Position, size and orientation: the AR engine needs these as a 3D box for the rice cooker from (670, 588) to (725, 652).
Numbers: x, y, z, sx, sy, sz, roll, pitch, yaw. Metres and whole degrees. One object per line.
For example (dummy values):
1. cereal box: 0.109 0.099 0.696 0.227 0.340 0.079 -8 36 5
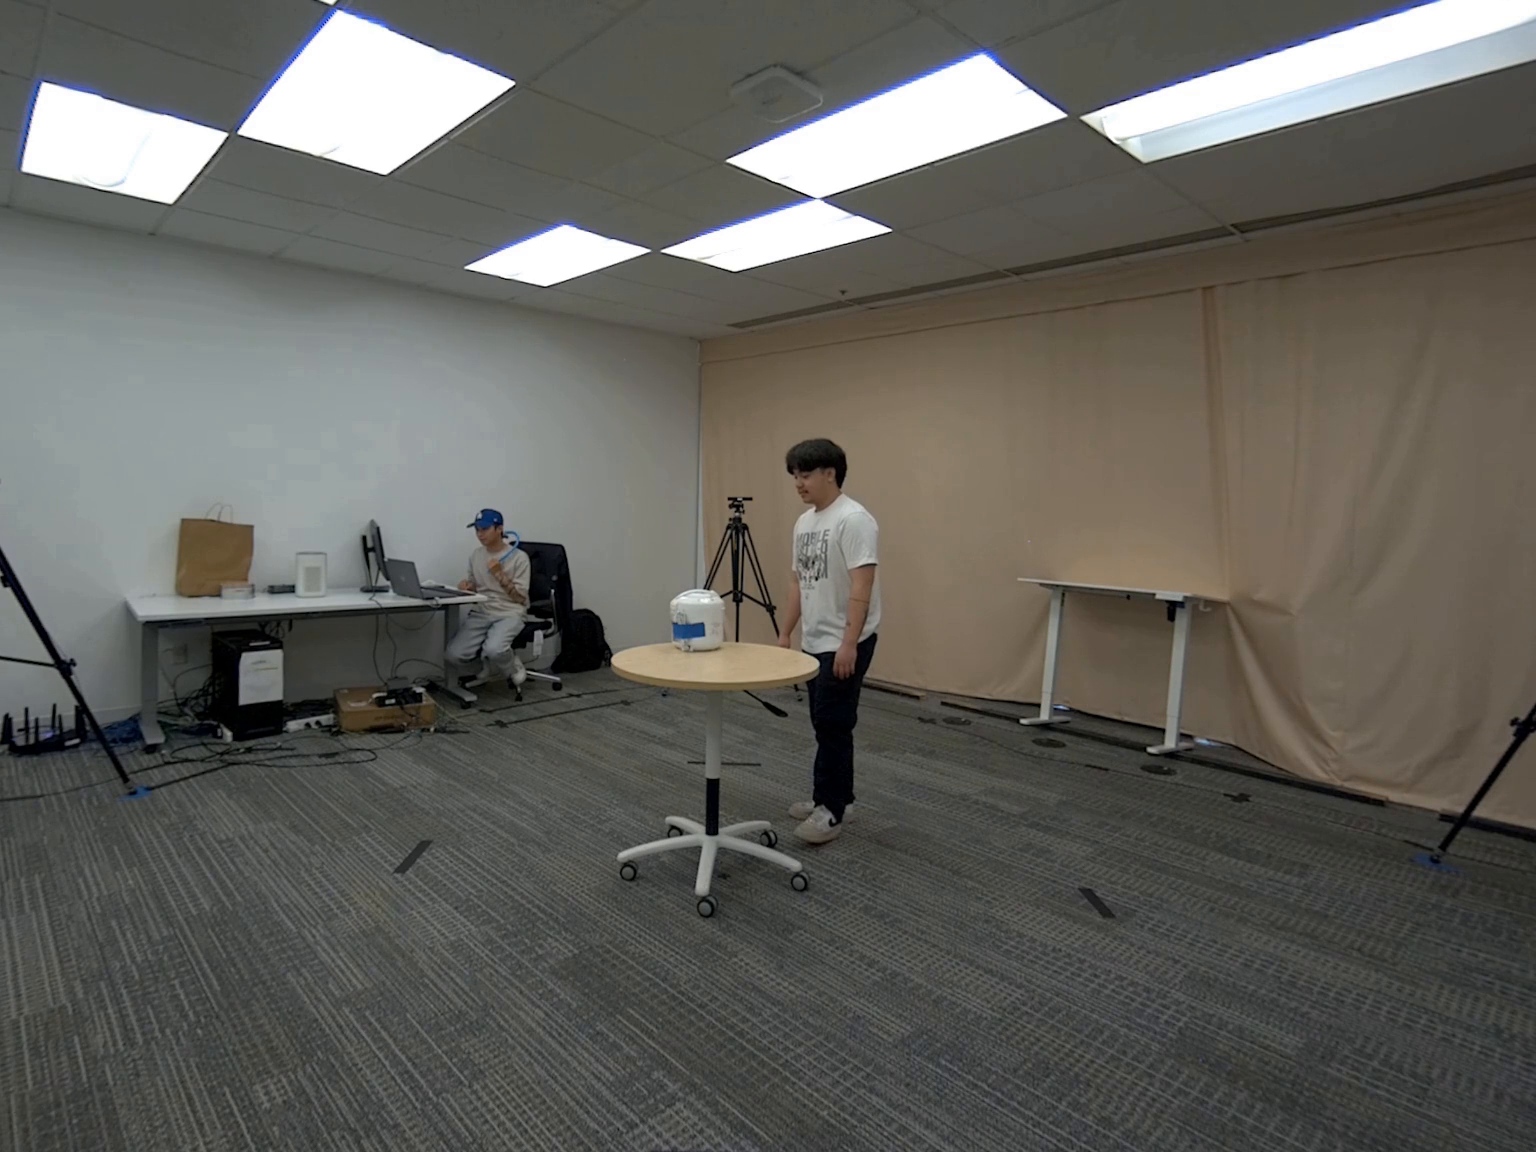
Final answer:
1. rice cooker: -0.288 0.169 3.340 0.217 0.232 0.221 1 5 -22
